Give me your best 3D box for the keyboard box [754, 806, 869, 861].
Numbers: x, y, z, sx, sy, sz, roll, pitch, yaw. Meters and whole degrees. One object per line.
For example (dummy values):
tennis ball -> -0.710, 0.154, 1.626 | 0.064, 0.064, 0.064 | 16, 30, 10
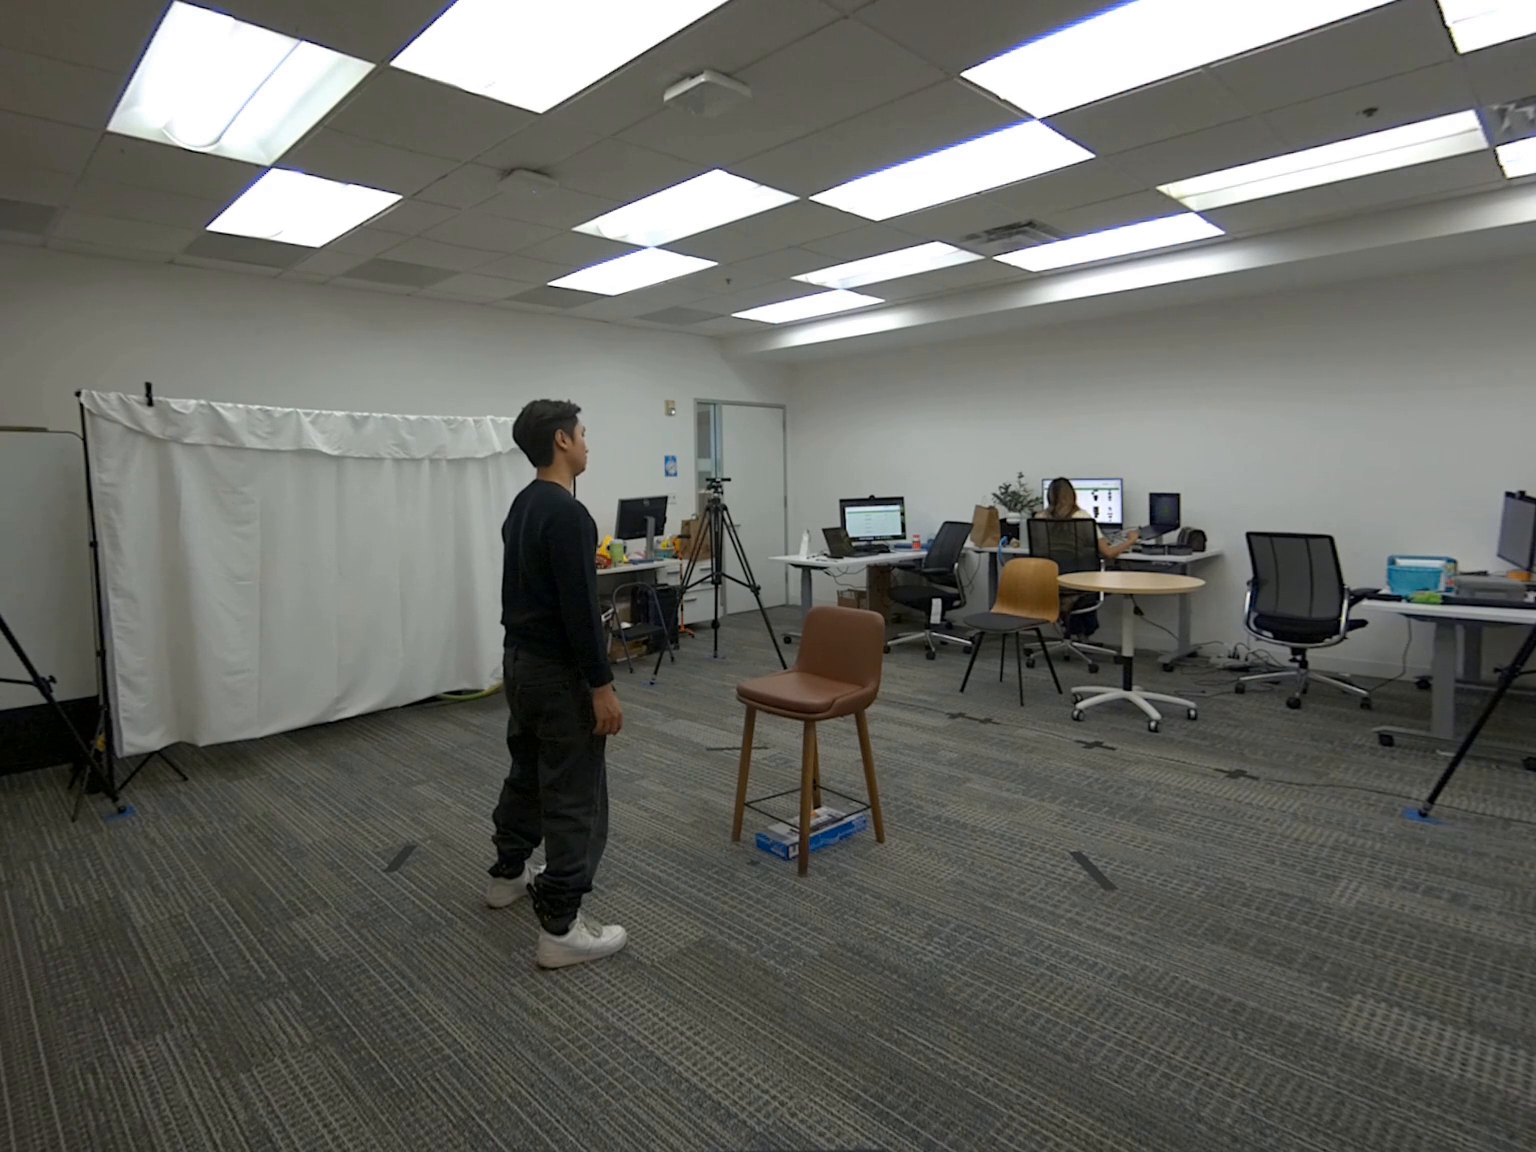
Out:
keyboard box -> 0.172, 0.987, 3.317 | 0.425, 0.059, 0.181 | -7, 8, -41
